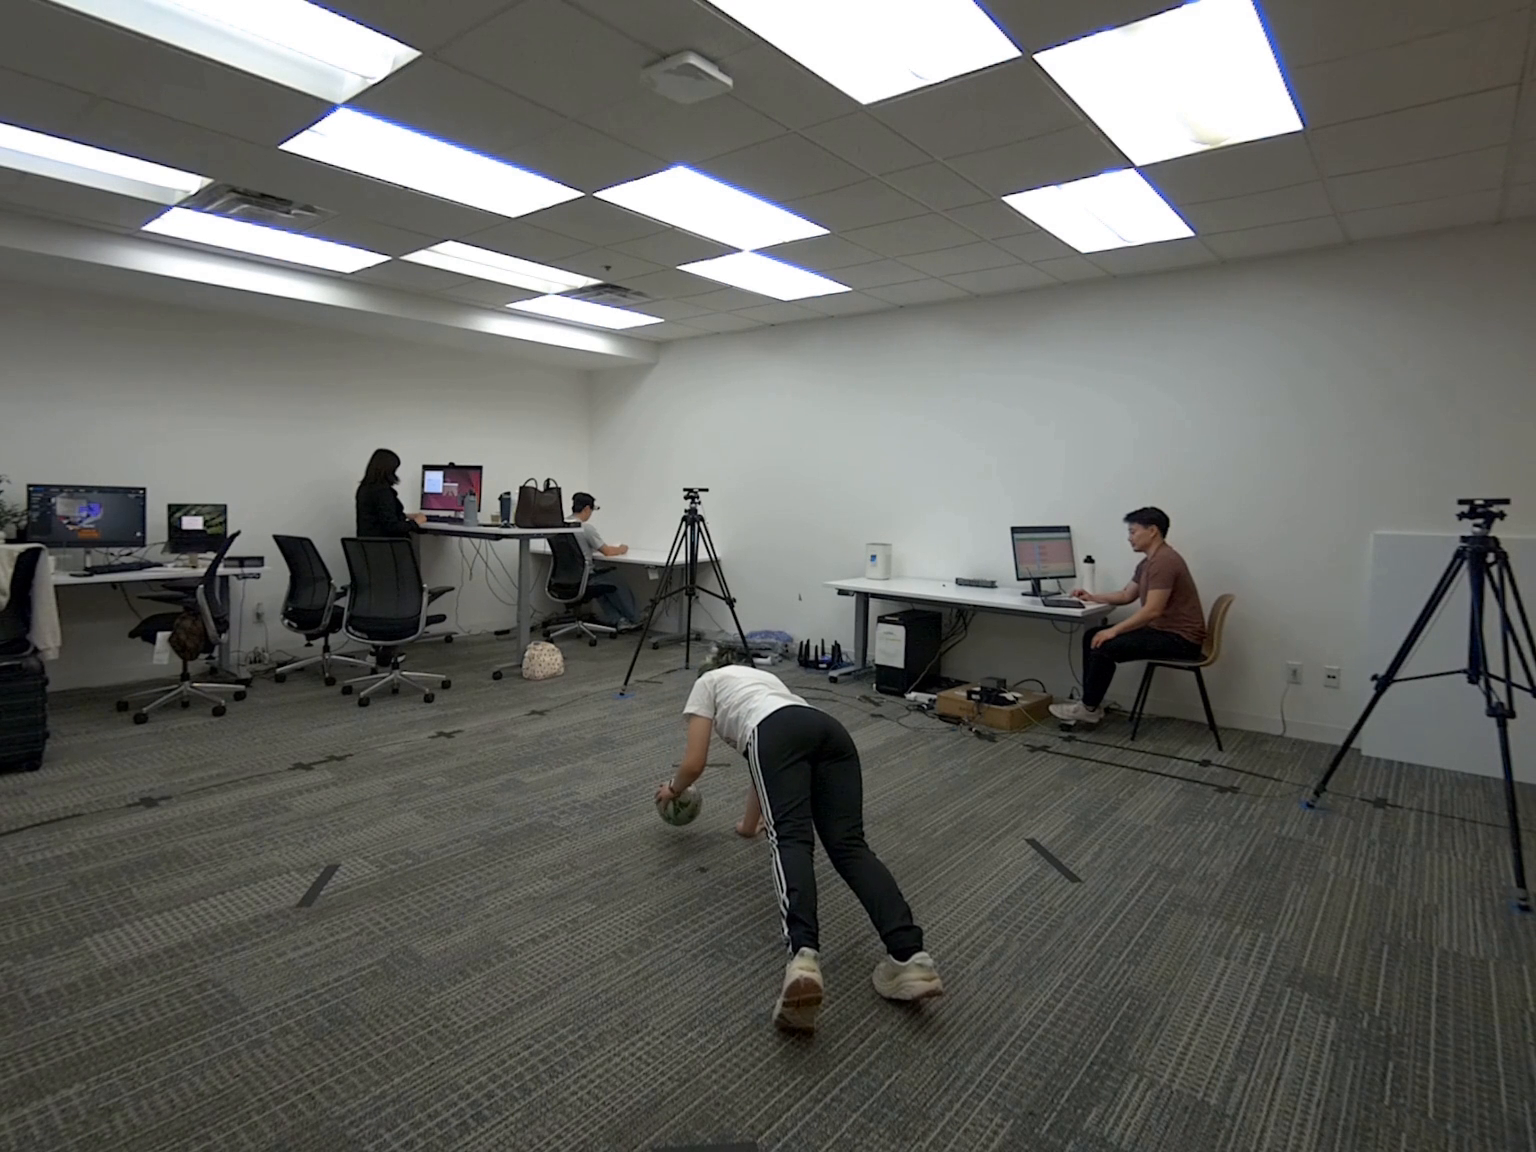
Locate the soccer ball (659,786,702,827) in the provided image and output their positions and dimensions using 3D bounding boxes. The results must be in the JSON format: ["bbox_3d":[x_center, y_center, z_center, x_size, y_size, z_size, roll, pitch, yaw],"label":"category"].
[{"bbox_3d":[-0.359,0.900,3.399,0.187,0.187,0.188,1,4,-2],"label":"soccer ball"}]
